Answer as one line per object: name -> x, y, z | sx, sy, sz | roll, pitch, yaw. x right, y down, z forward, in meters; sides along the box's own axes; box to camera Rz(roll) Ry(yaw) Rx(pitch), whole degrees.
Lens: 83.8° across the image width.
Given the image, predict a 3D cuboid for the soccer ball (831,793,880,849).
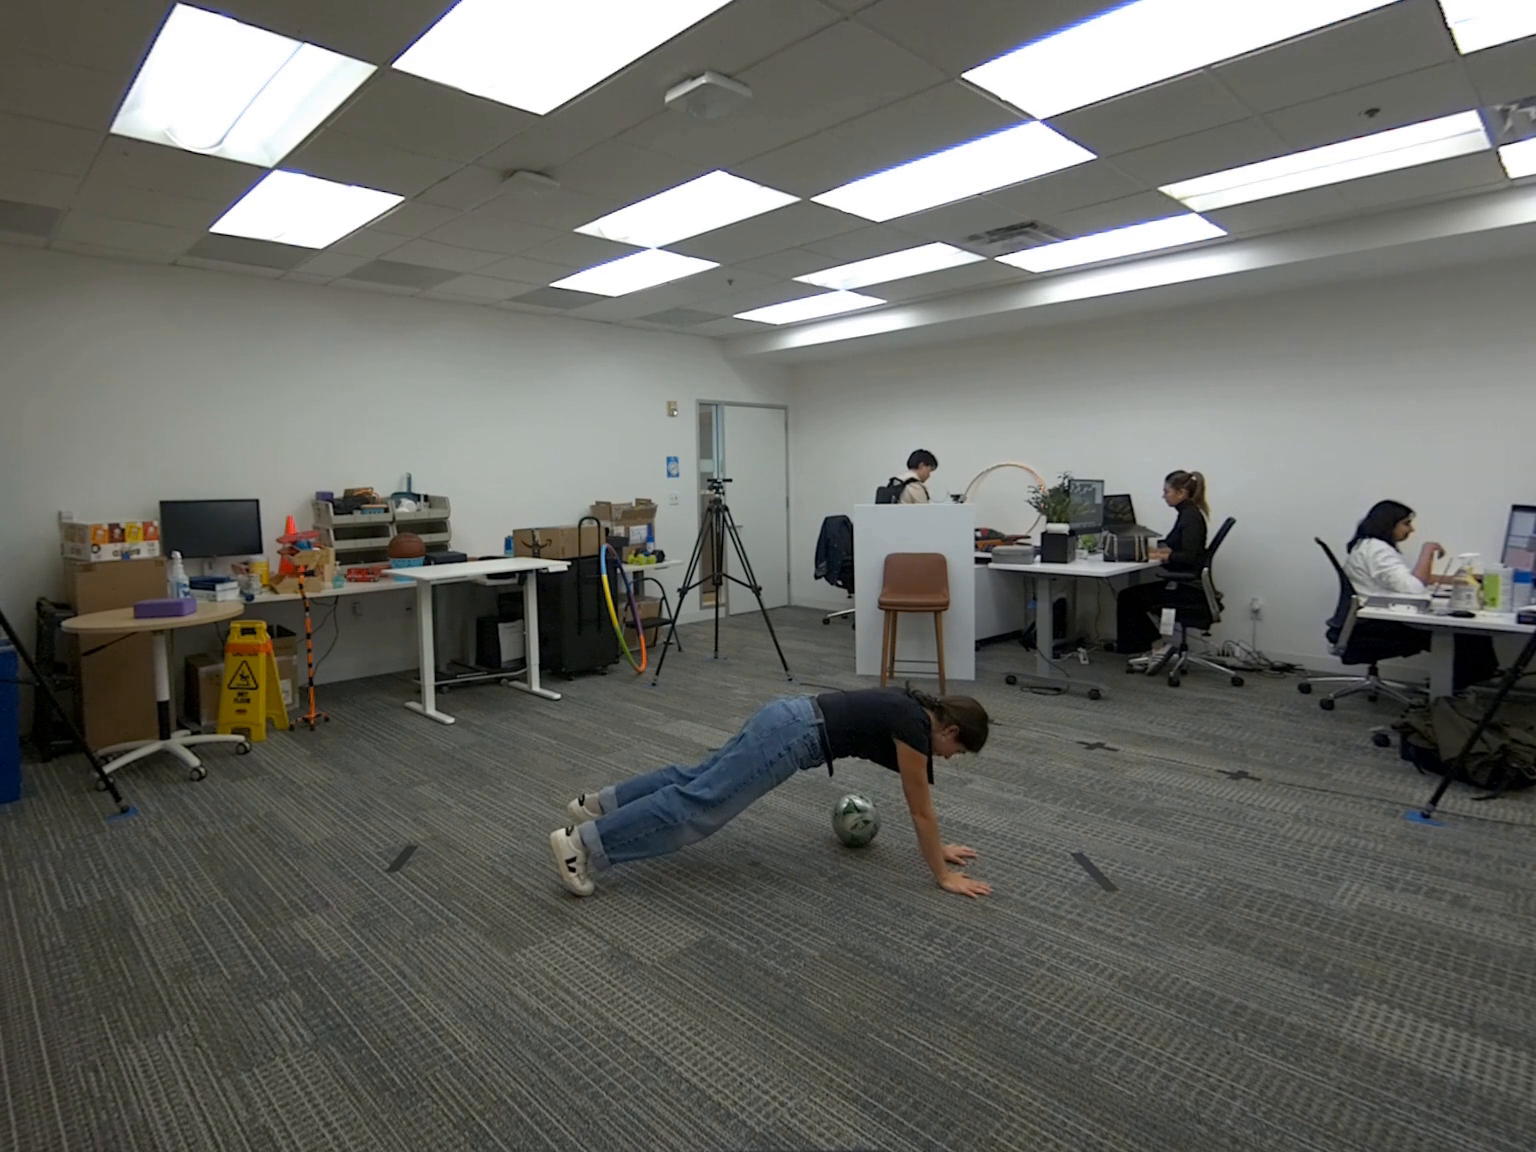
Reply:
soccer ball -> 0.334, 0.925, 3.255 | 0.187, 0.187, 0.188 | -1, 5, -2
